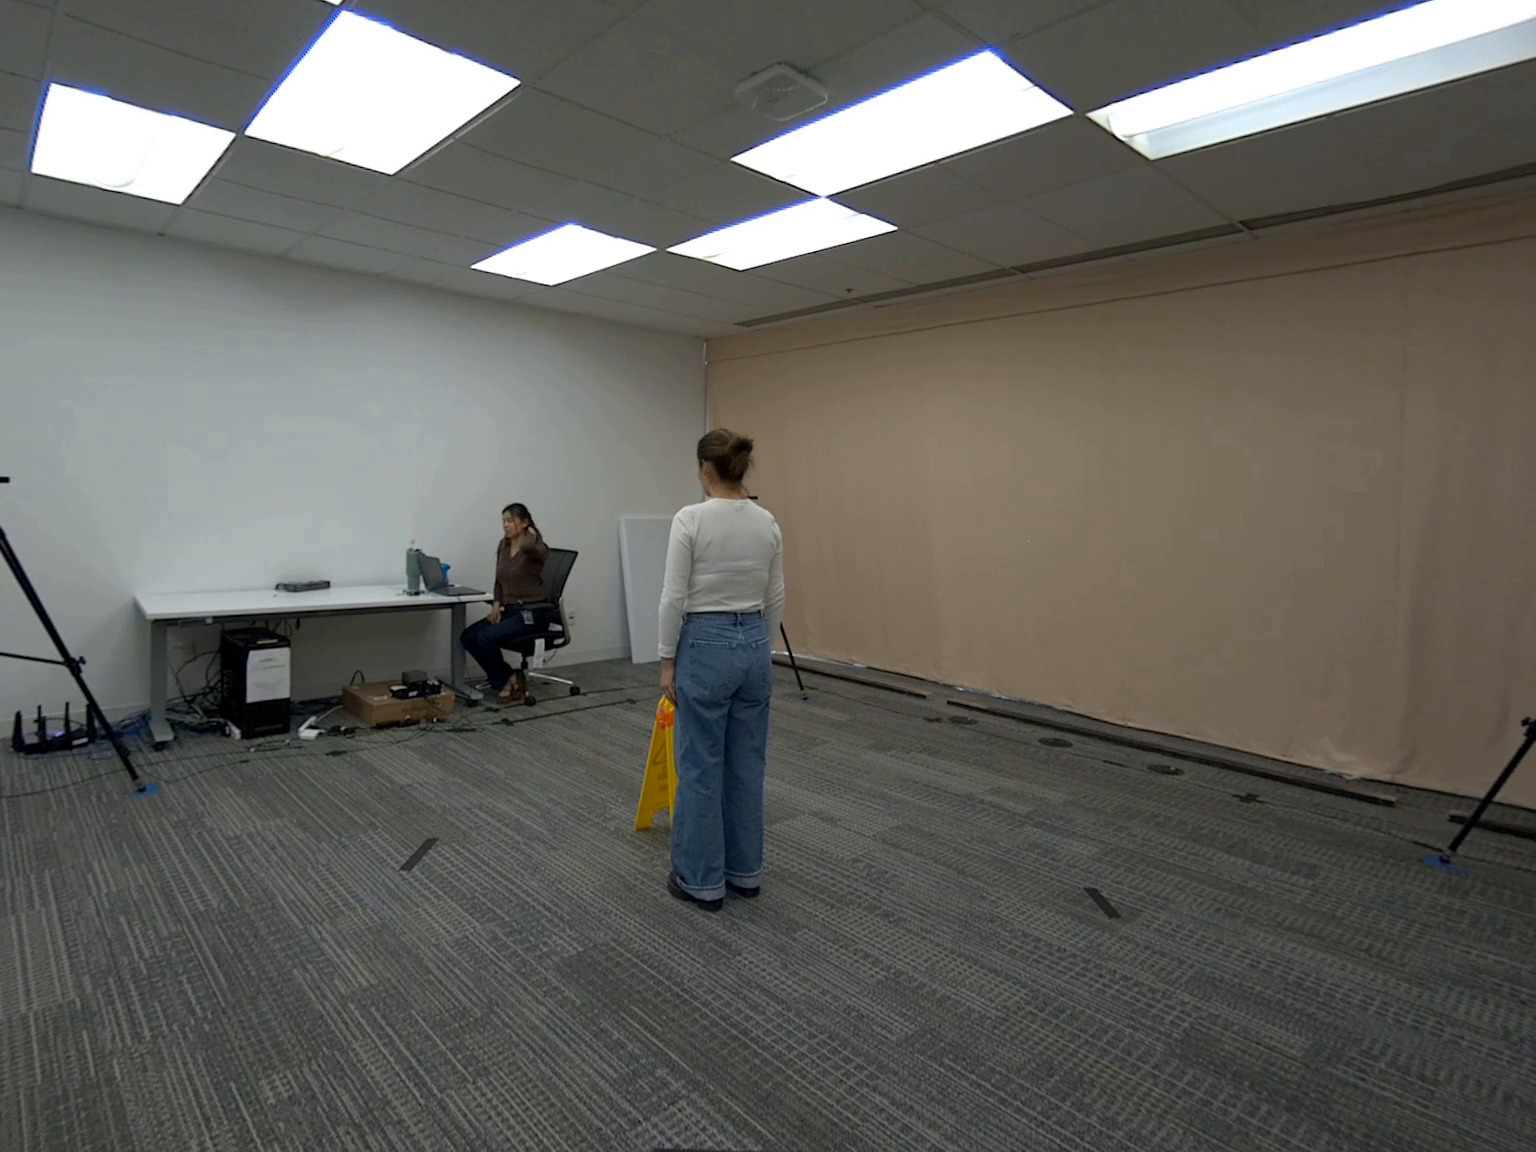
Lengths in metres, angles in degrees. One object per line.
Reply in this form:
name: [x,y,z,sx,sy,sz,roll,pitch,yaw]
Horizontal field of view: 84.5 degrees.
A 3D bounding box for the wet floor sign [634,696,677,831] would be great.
wet floor sign: [-0.351,0.745,3.456,0.276,0.644,0.297,-1,5,-42]
